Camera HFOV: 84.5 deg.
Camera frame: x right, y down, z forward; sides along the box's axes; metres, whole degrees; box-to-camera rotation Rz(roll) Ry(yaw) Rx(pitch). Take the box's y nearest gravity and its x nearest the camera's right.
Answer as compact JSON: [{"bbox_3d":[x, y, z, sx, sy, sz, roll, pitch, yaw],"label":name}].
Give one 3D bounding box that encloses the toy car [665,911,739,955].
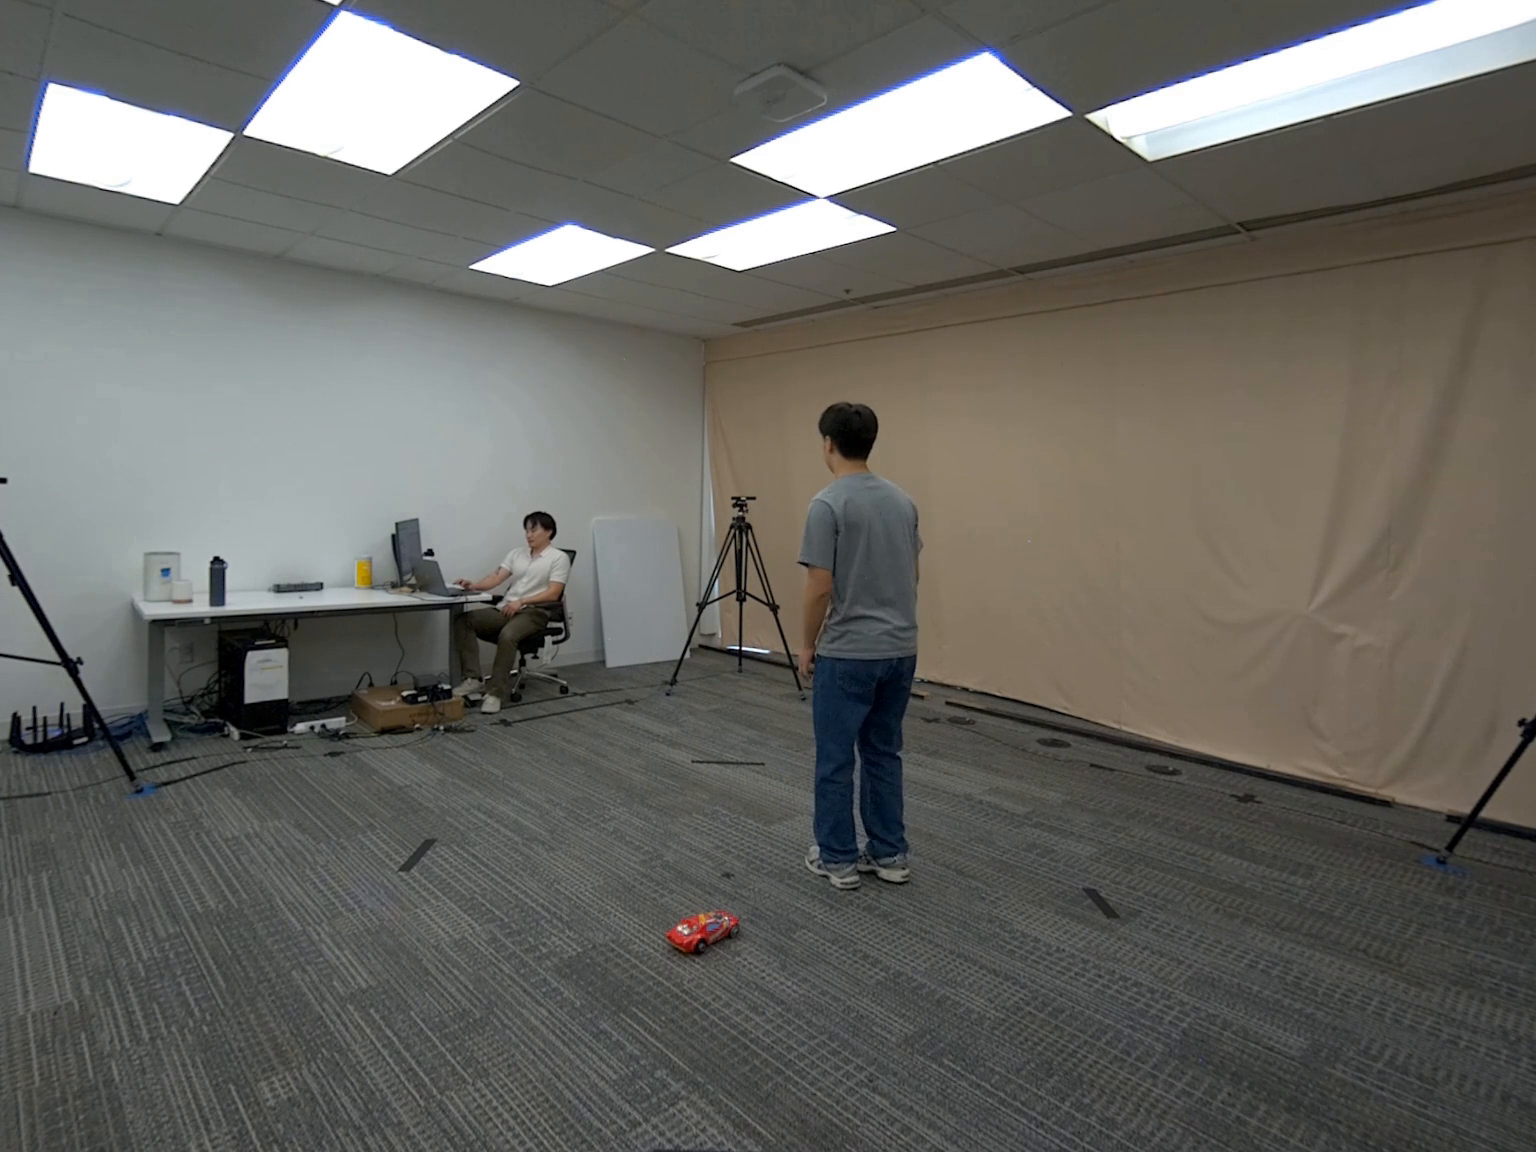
[{"bbox_3d":[-0.217,1.115,2.628,0.133,0.083,0.247,5,-5,45],"label":"toy car"}]
